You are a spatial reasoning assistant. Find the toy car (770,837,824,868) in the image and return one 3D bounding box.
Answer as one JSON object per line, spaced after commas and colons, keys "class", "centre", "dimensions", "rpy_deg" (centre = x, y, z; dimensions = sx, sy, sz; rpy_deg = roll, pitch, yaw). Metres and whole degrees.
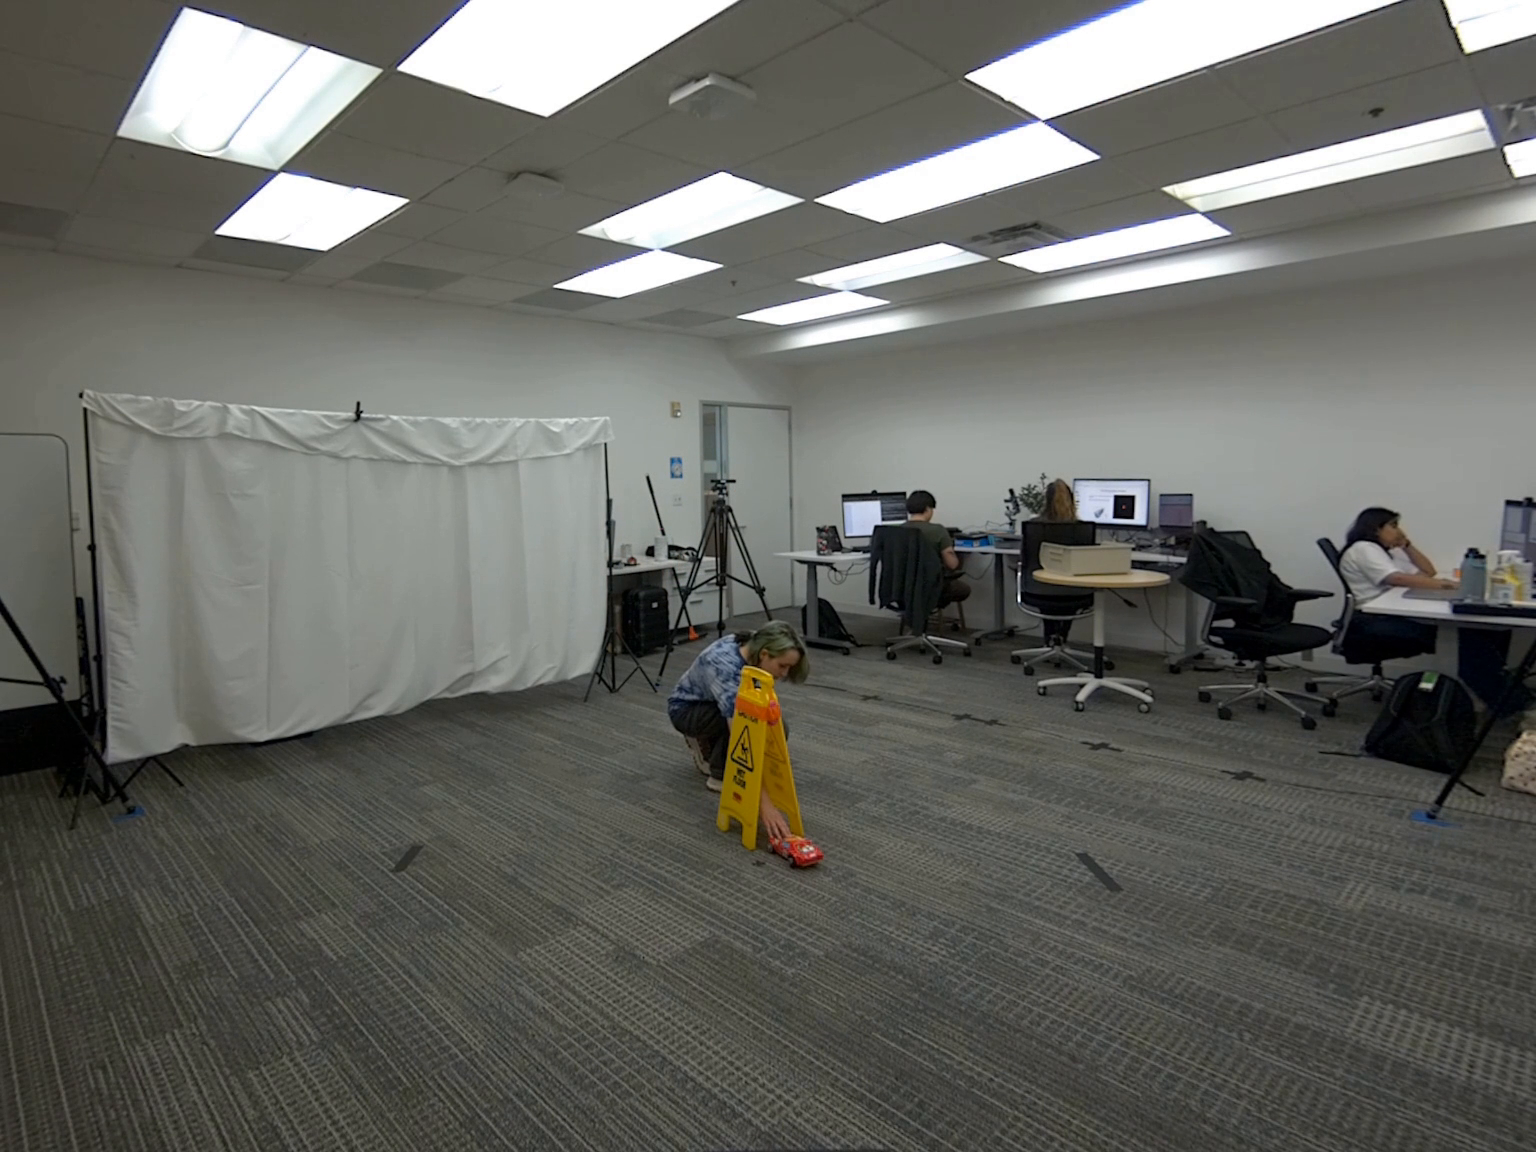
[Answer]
{"class": "toy car", "centre": [0.108, 1.015, 3.136], "dimensions": [0.127, 0.084, 0.258], "rpy_deg": [-4, -7, -28]}
